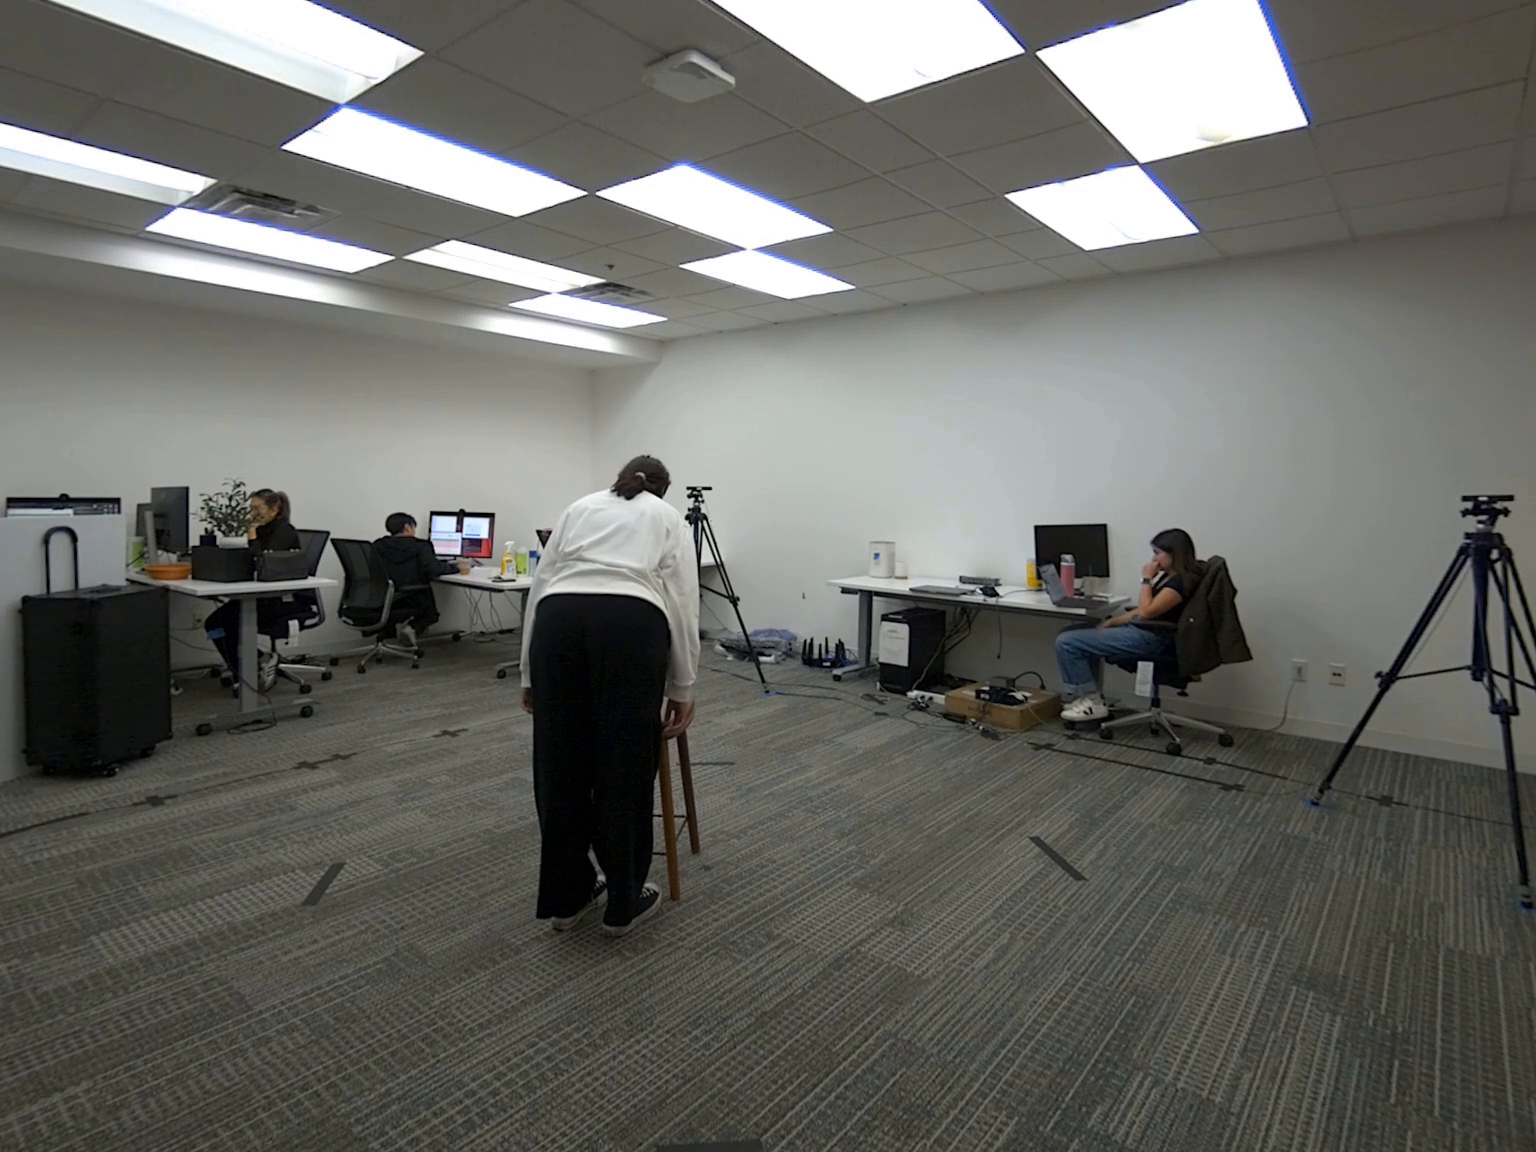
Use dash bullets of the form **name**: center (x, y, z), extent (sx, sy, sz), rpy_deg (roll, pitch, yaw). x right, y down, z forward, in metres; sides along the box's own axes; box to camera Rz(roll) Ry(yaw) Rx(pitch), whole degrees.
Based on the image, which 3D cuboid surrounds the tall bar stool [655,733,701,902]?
- **tall bar stool**: center (-0.496, 0.630, 3.066), extent (0.473, 0.887, 0.453), rpy_deg (0, 3, 9)
